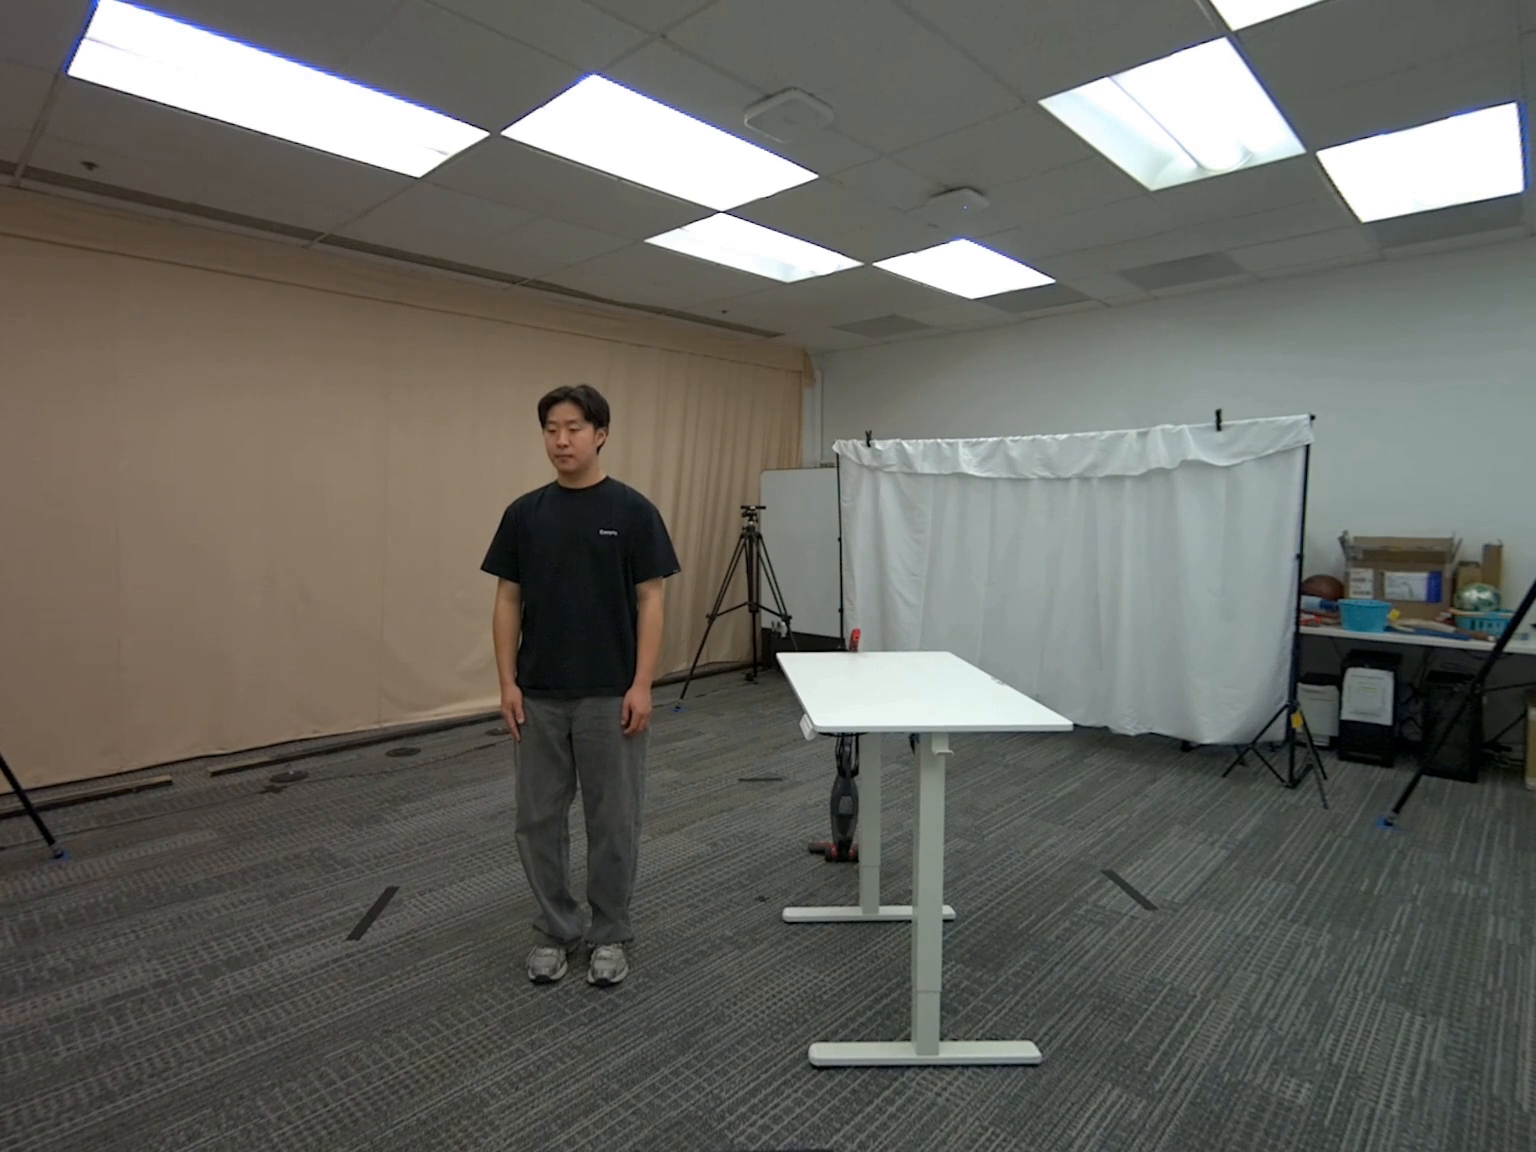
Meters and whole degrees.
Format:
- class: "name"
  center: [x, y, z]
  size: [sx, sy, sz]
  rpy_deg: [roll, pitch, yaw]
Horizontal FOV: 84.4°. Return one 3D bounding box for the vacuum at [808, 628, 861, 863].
- class: "vacuum"
  center: [0.296, 0.648, 3.107]
  size: [0.252, 1.033, 0.146]
  rpy_deg: [-1, 27, -1]
